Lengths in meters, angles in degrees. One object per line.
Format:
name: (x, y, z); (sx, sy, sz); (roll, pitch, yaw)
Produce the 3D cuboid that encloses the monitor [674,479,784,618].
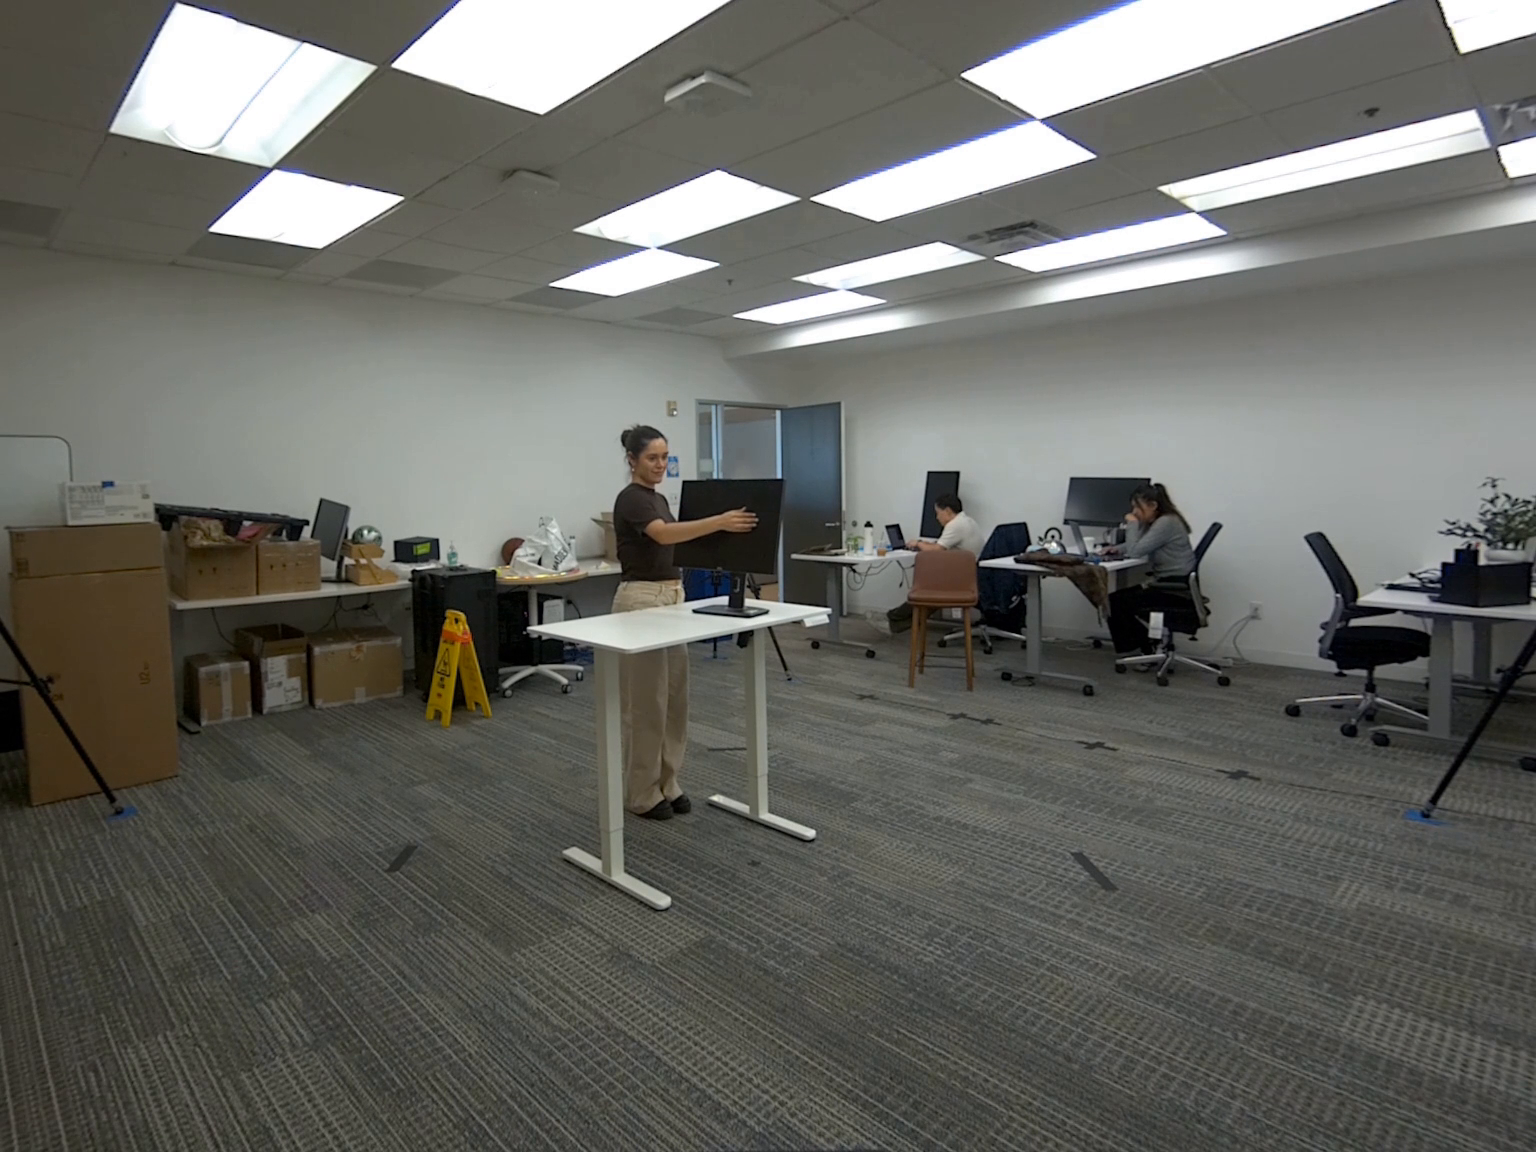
monitor: (-0.135, -0.108, 3.280); (0.556, 0.520, 0.182); (4, 6, 42)
